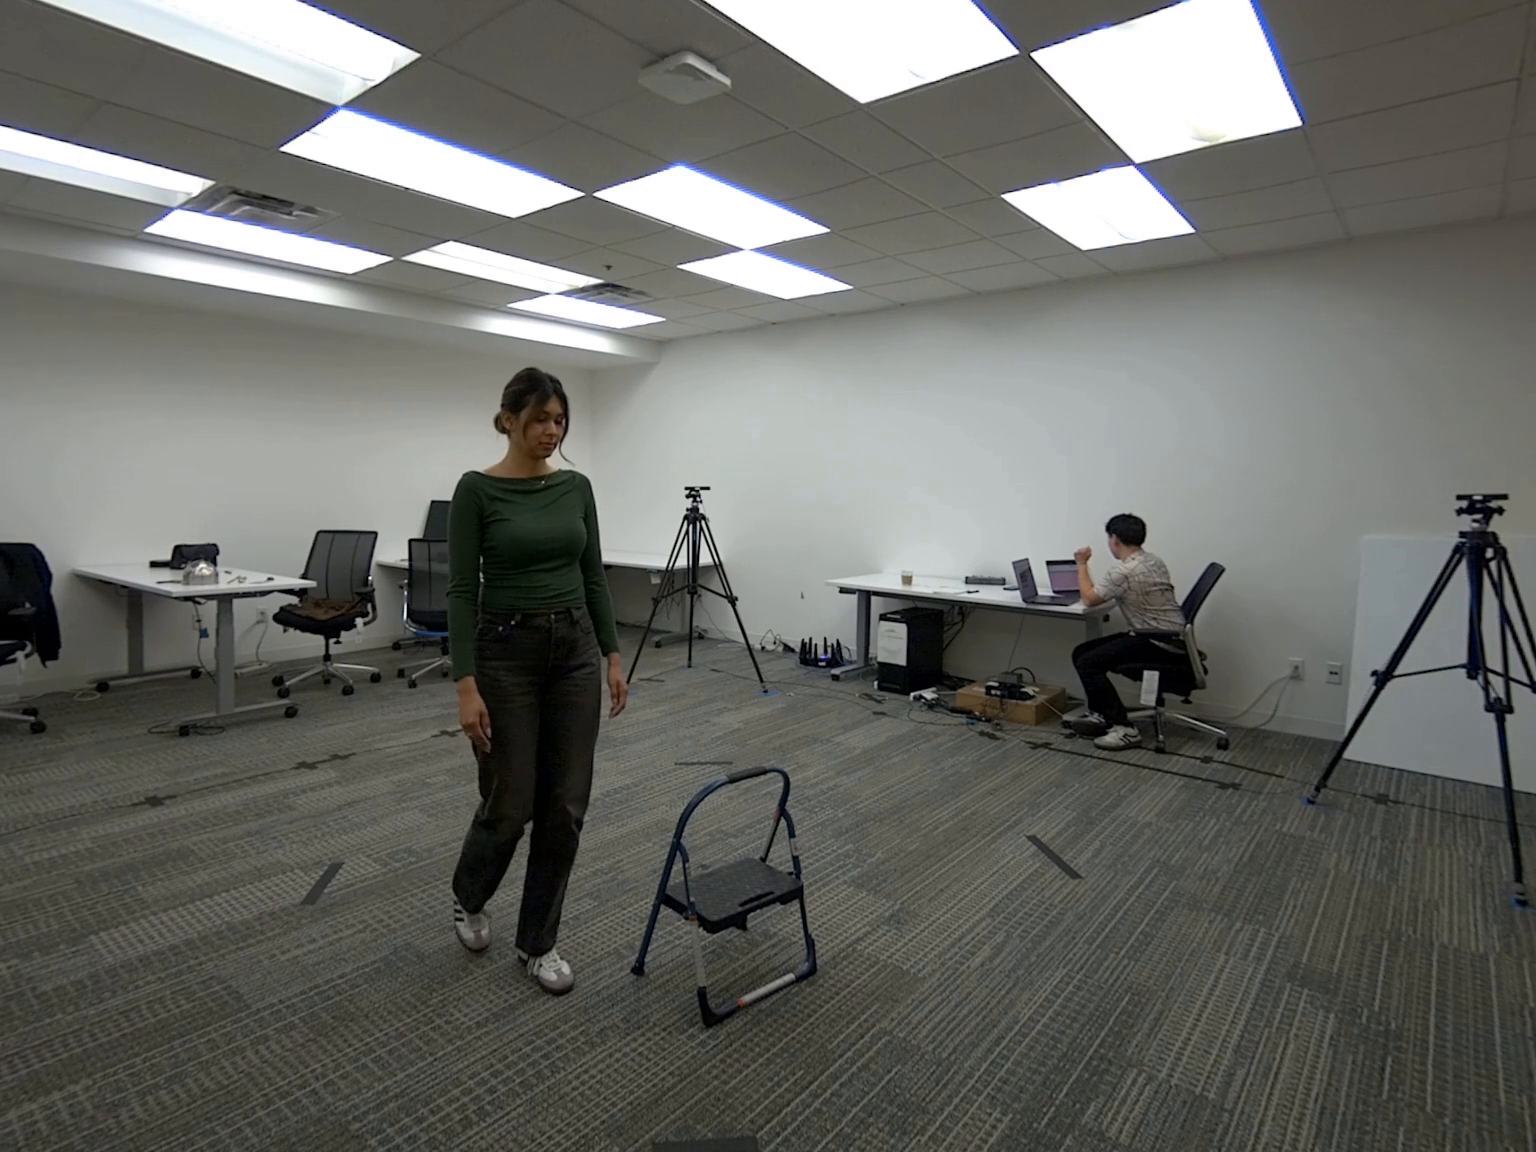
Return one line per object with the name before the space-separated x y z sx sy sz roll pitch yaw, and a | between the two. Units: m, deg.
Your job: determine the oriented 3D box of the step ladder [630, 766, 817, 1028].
step ladder | -0.126 0.834 2.422 0.418 0.604 0.361 -3 5 -42
